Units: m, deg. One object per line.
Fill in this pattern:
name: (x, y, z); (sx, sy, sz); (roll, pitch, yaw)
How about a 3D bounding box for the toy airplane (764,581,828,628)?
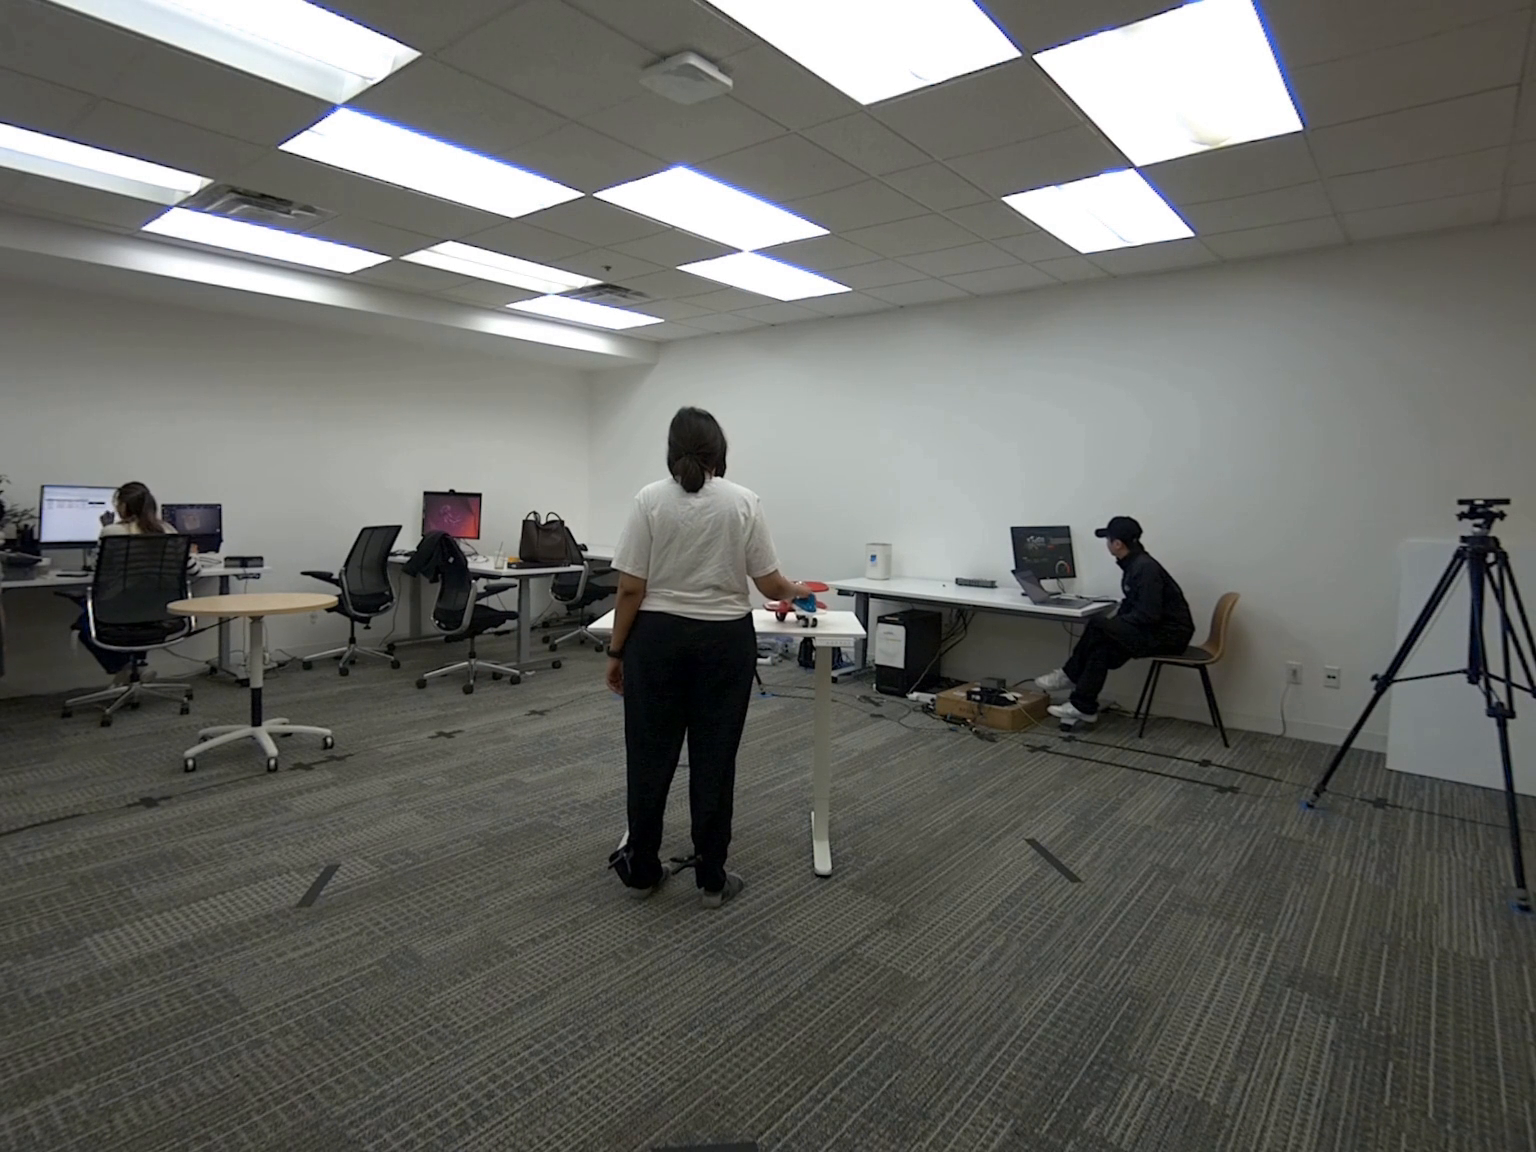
toy airplane: (0.128, 0.103, 3.243); (0.243, 0.156, 0.268); (-1, 4, -43)
